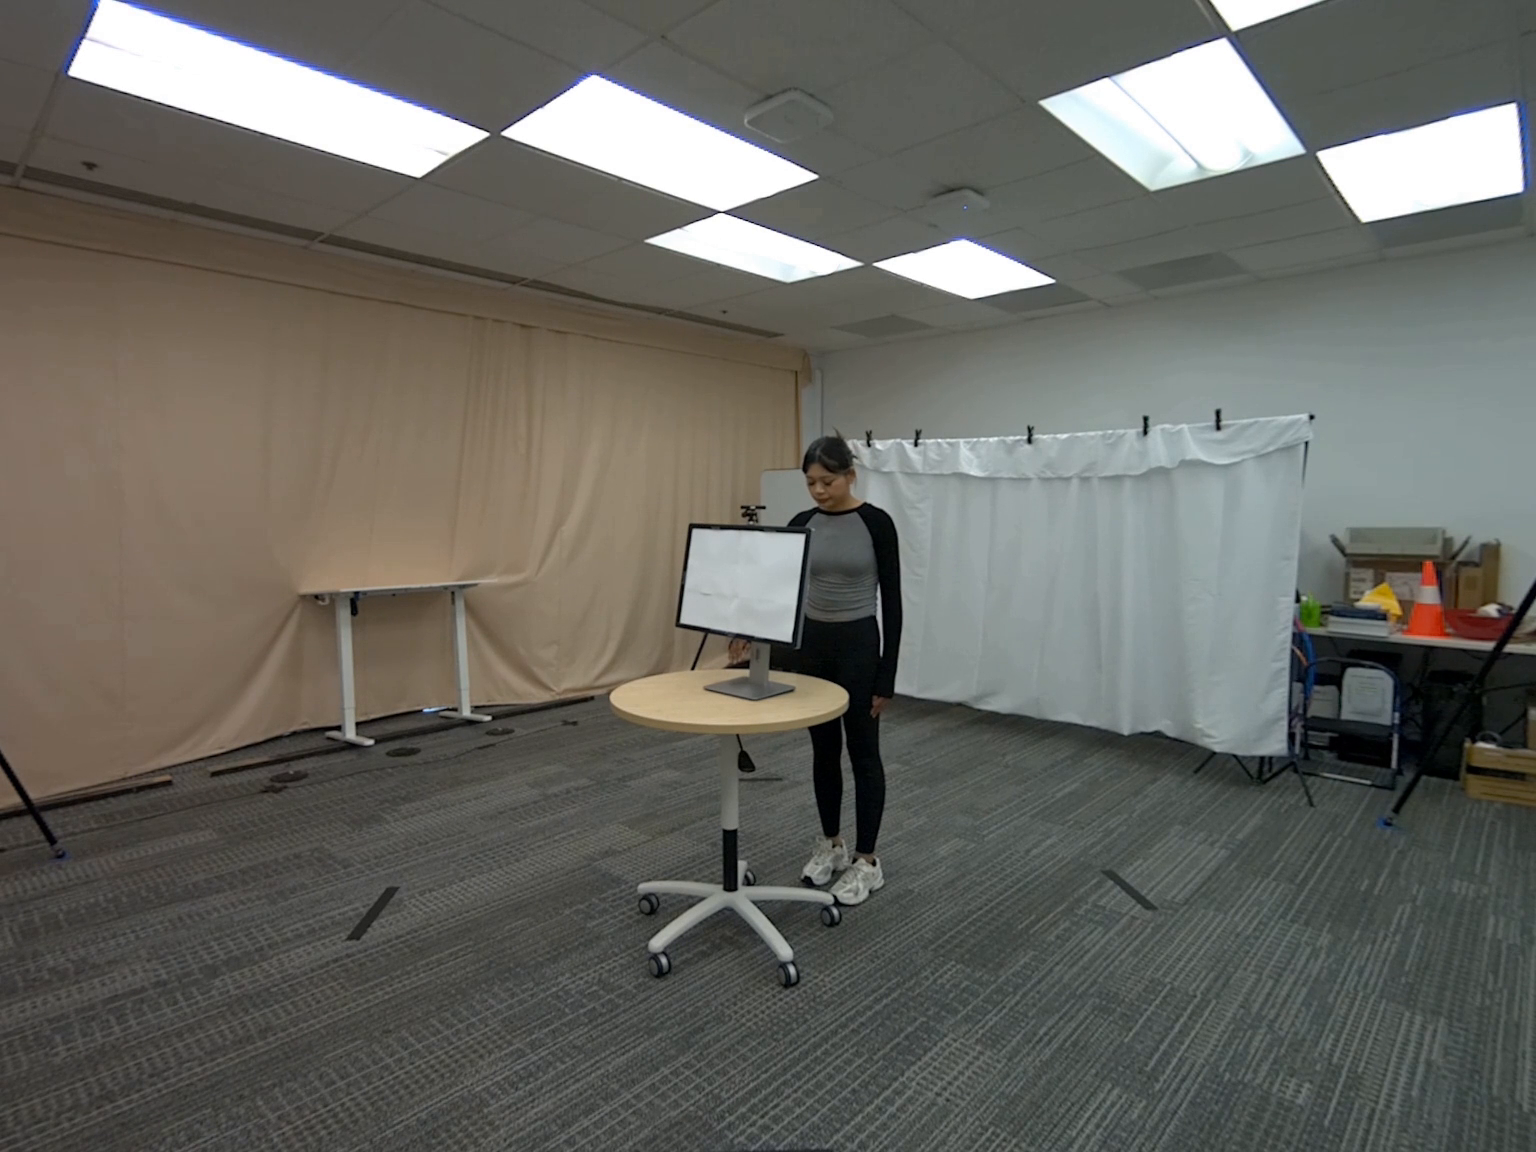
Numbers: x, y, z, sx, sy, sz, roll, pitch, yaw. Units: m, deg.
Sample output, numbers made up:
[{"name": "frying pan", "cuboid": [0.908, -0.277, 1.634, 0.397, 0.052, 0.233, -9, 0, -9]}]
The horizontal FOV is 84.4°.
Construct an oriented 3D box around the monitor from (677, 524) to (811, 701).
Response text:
[{"name": "monitor", "cuboid": [-0.060, 0.110, 2.745, 0.557, 0.521, 0.181, 4, 7, 44]}]
